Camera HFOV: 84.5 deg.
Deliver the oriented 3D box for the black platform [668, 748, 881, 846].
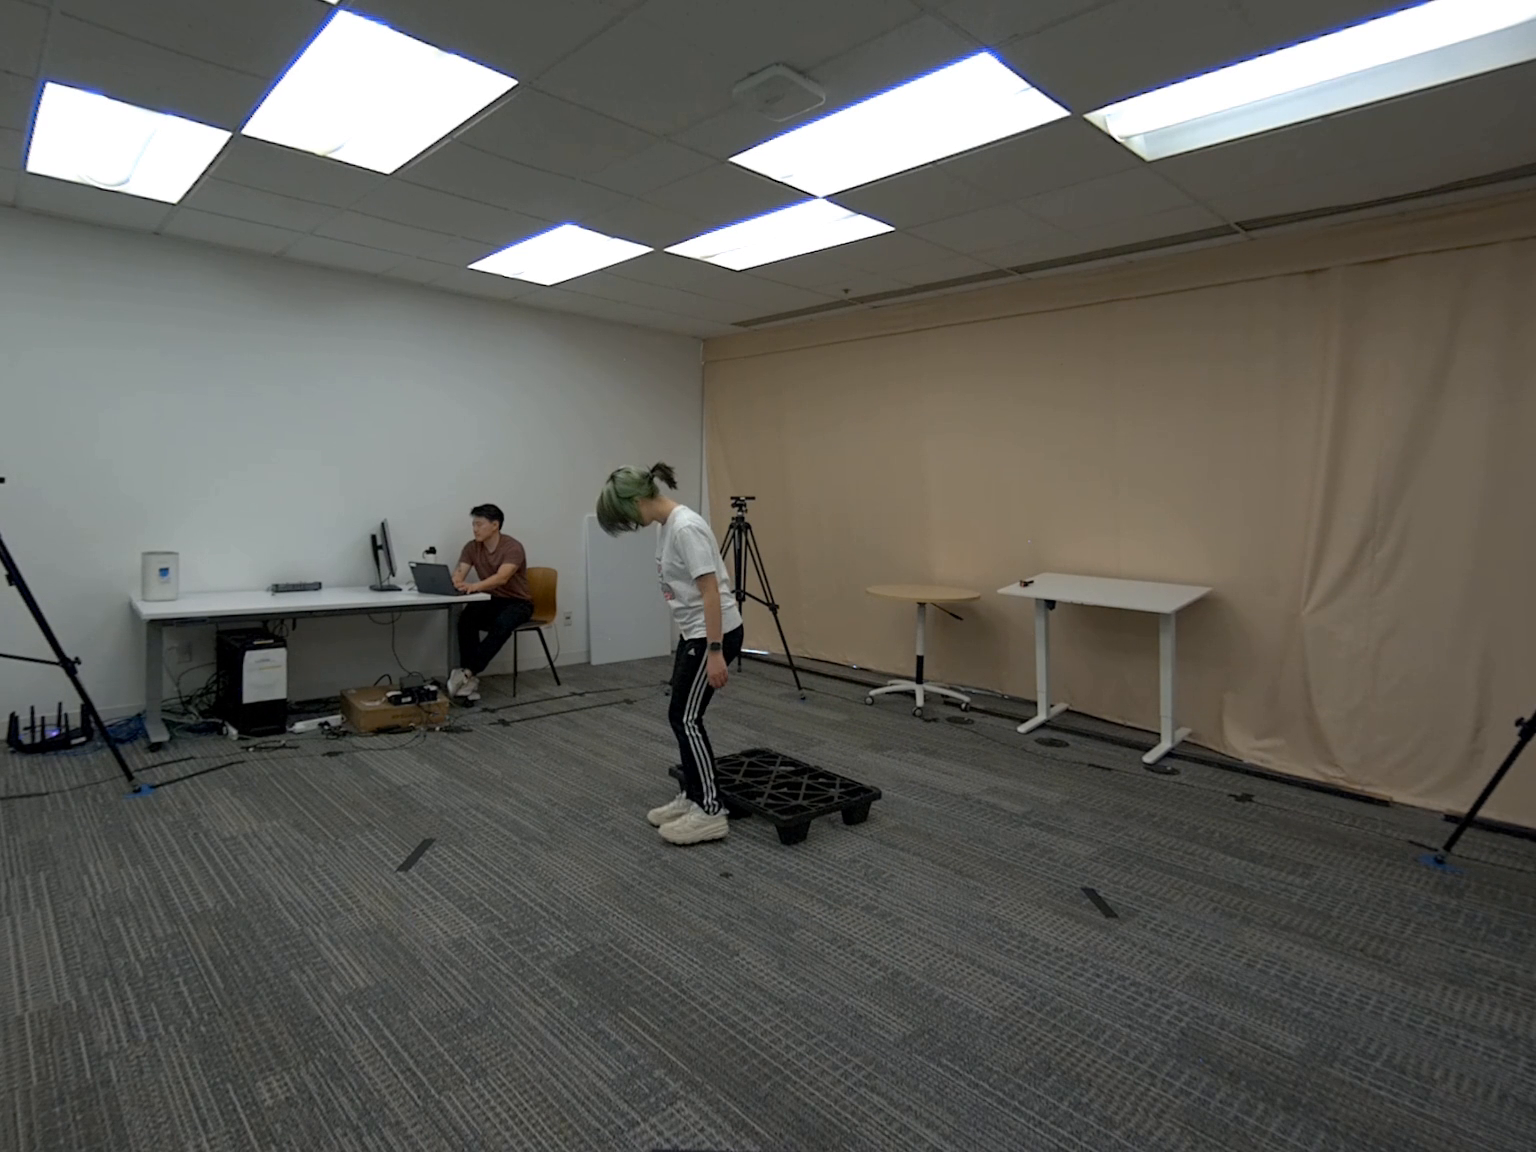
[{"bbox_3d":[0.008,0.981,3.802,0.591,0.143,0.826,-3,7,-40],"label":"black platform"}]
